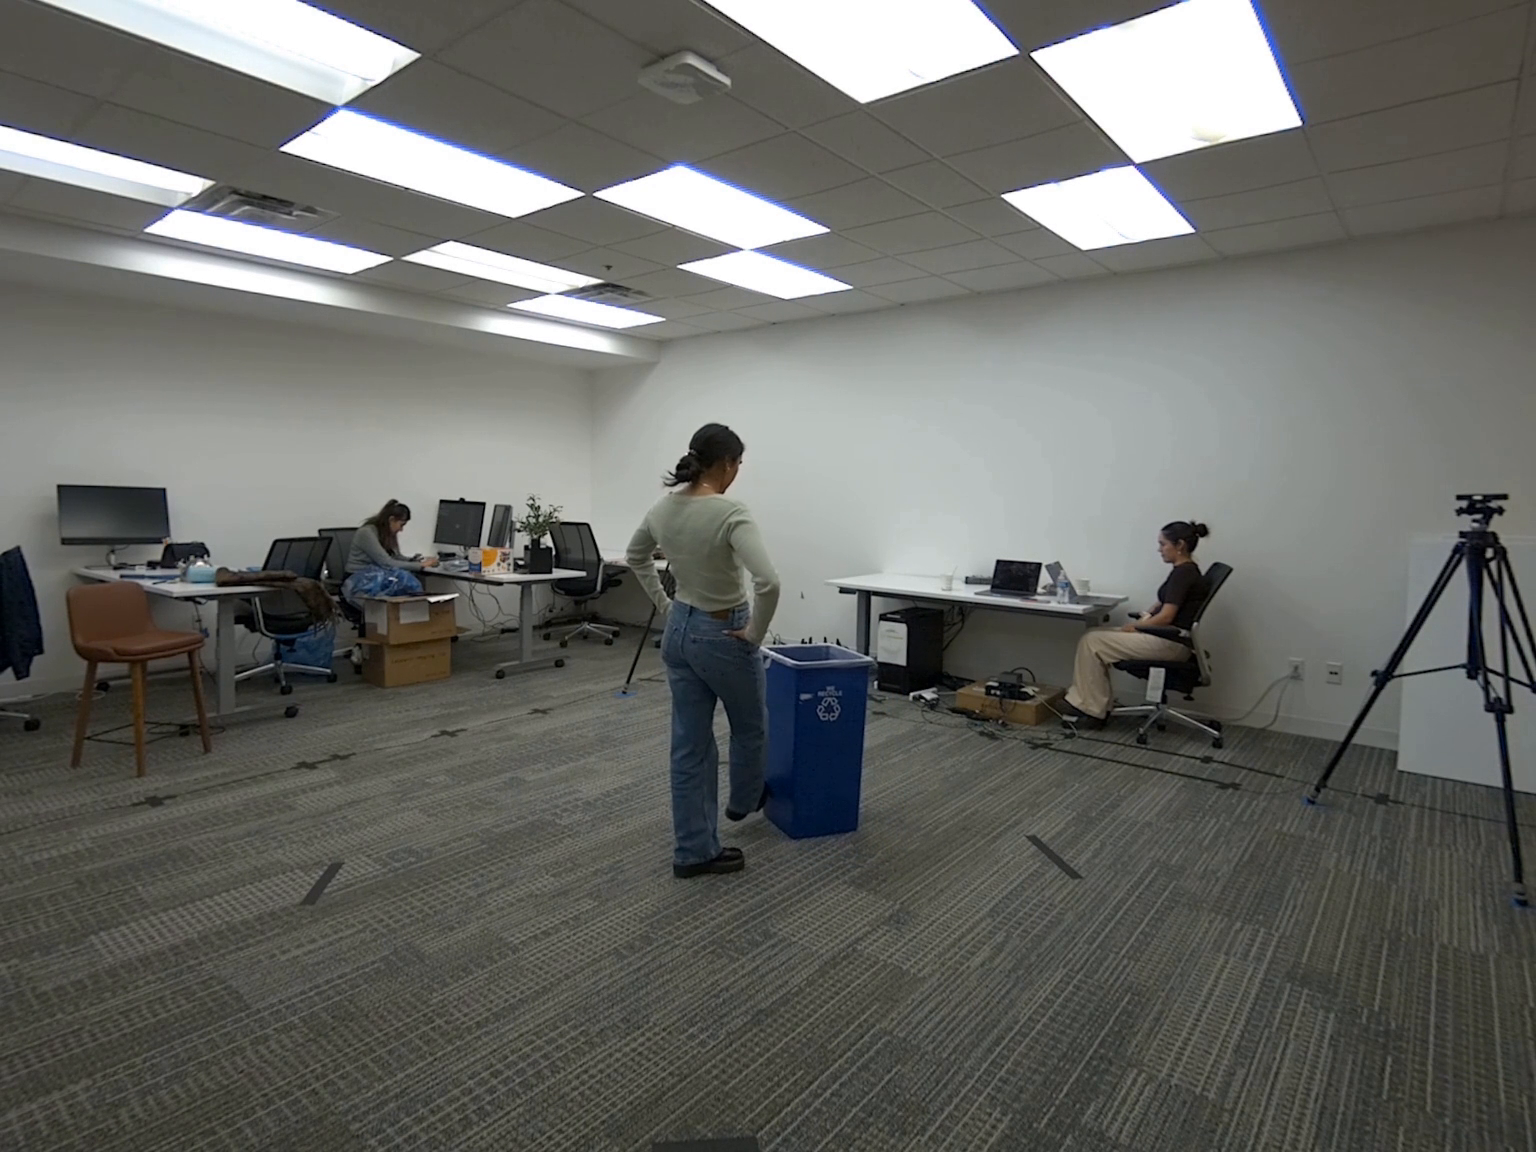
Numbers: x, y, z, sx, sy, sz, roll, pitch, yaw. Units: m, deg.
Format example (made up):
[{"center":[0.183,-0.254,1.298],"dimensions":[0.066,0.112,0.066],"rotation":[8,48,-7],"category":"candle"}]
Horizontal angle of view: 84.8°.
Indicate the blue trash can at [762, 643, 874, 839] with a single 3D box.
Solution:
[{"center":[0.189,0.672,3.545],"dimensions":[0.369,0.712,0.384],"rotation":[1,3,-24],"category":"blue trash can"}]
